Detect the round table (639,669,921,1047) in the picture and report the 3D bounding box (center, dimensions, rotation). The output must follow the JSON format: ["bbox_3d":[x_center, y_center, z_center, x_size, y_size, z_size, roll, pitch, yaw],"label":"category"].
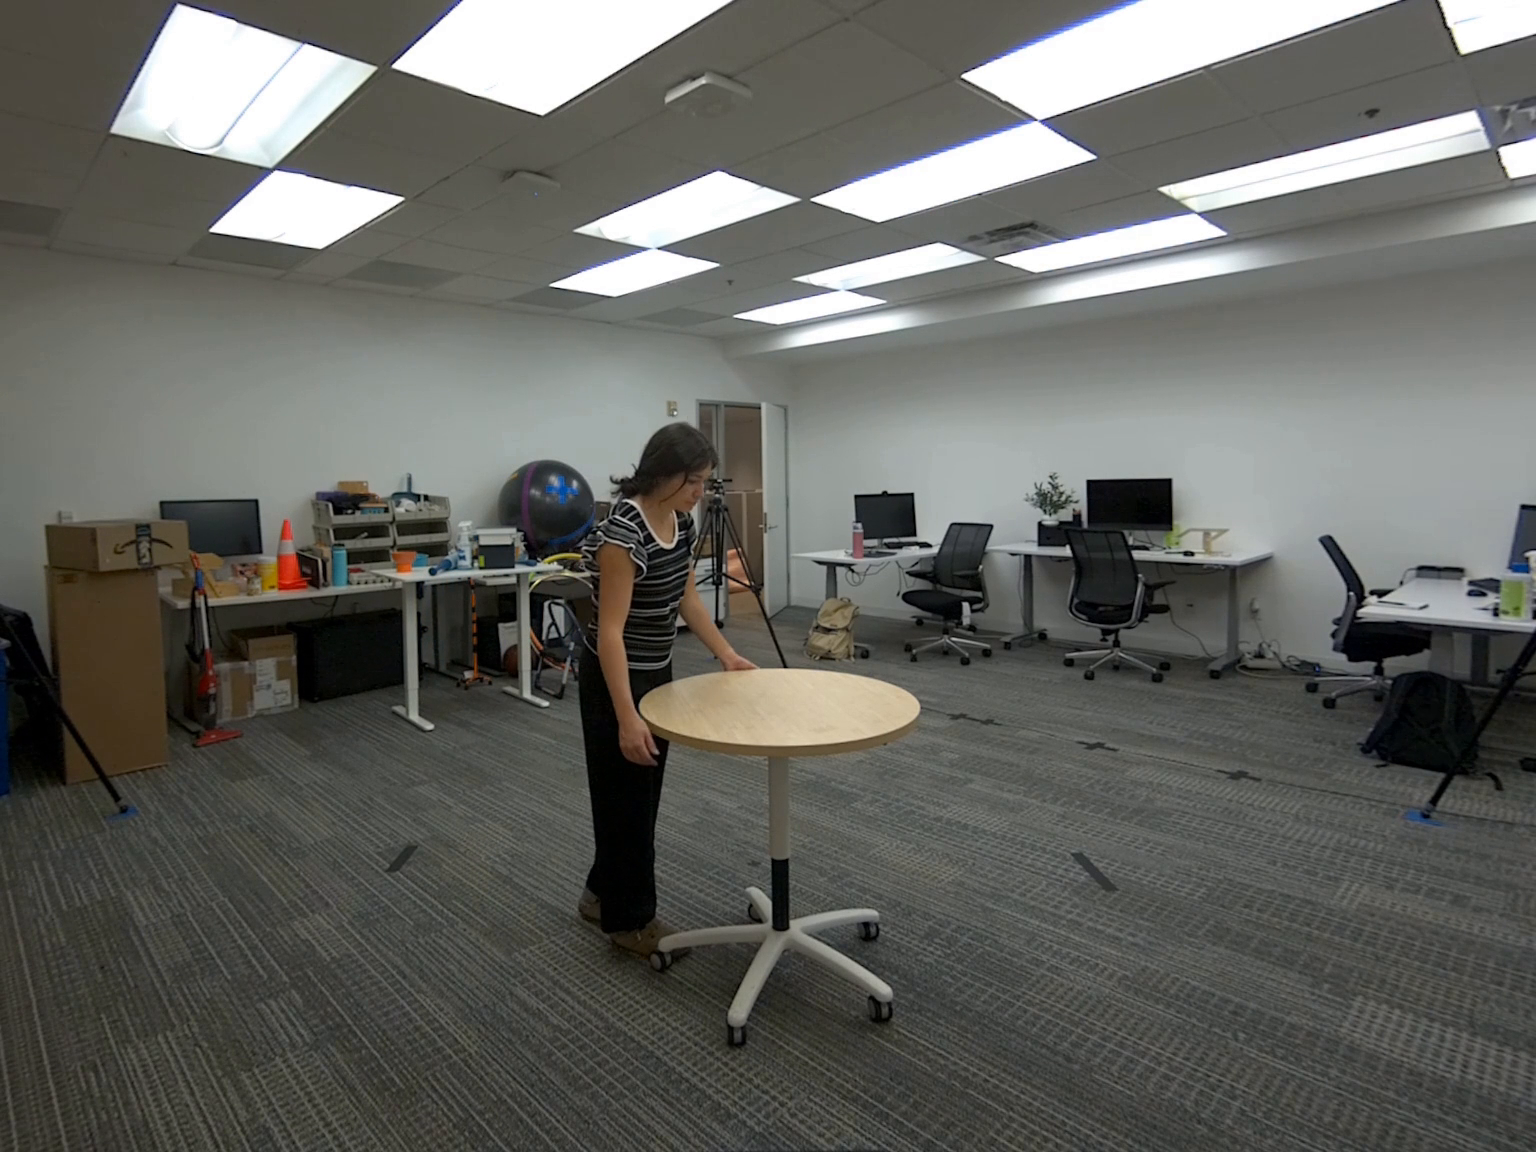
[{"bbox_3d":[0.044,0.733,2.383,0.763,0.790,0.768,-1,5,-2],"label":"round table"}]
